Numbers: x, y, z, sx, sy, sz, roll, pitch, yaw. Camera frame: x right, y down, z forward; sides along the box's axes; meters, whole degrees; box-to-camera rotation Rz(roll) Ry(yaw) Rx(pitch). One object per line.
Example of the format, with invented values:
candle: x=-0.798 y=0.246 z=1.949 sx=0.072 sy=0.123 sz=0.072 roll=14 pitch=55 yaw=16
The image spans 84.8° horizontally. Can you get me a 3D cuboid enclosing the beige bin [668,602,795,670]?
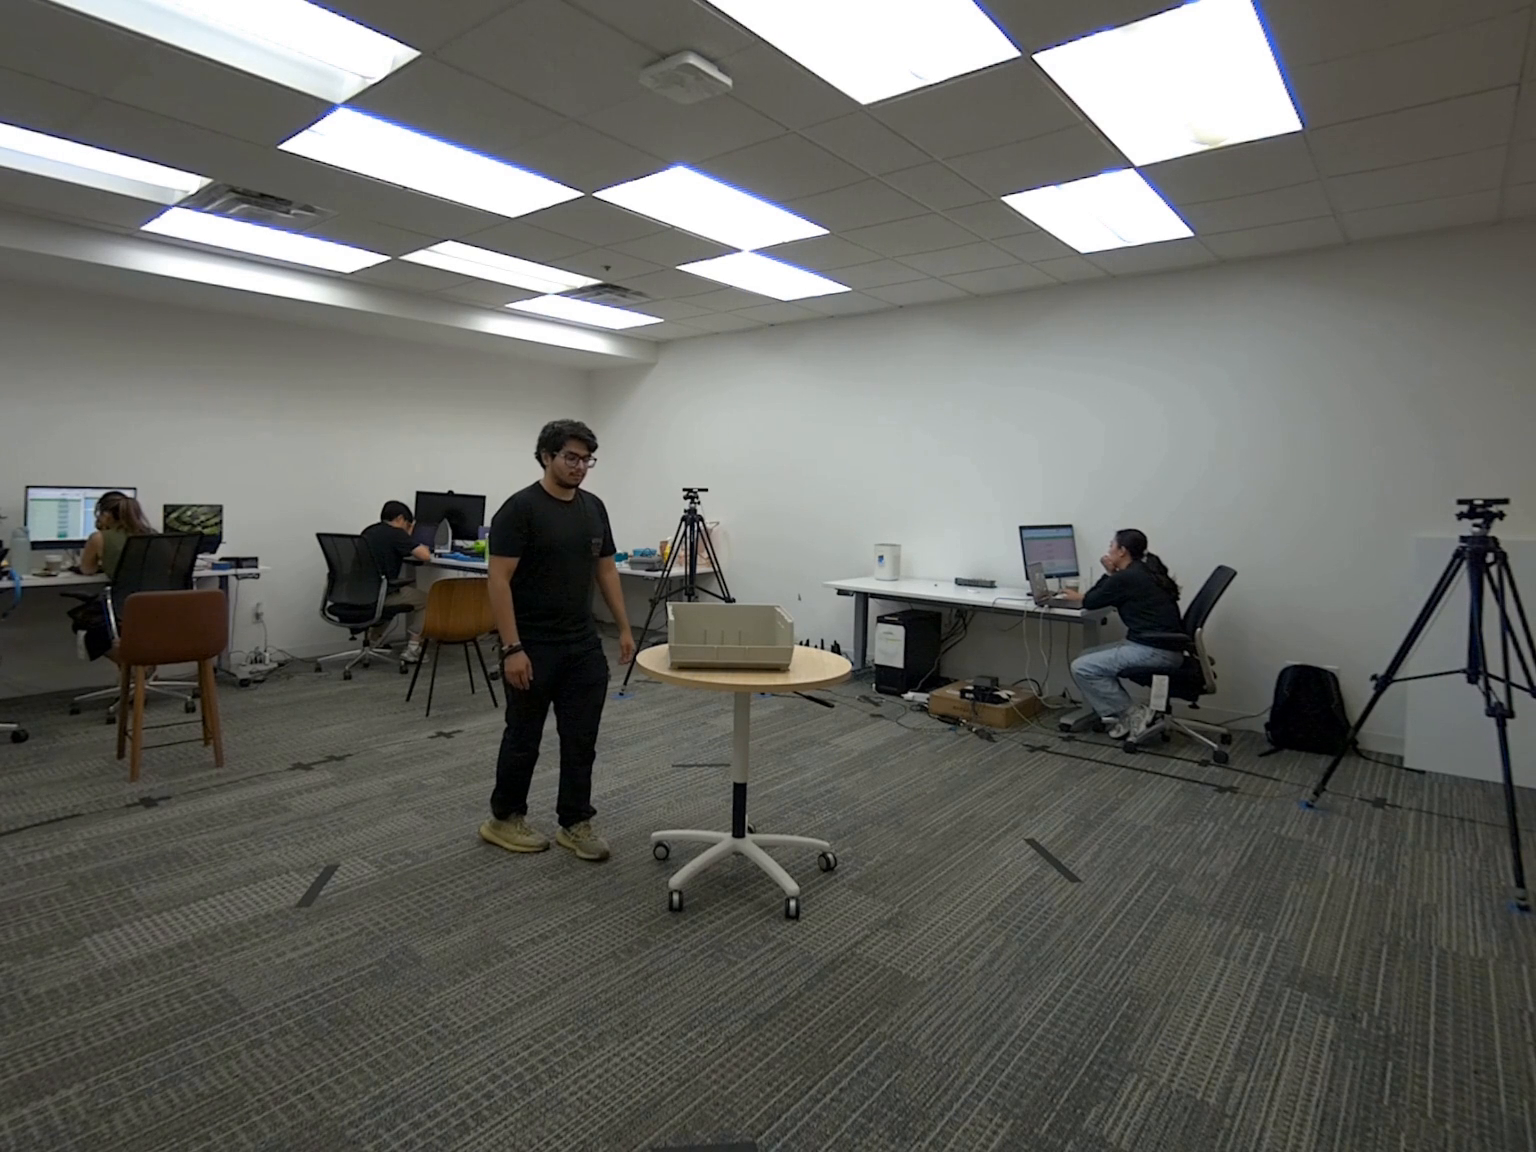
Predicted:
beige bin: x=-0.146 y=0.218 z=2.973 sx=0.420 sy=0.188 sz=0.381 roll=2 pitch=4 yaw=-7
